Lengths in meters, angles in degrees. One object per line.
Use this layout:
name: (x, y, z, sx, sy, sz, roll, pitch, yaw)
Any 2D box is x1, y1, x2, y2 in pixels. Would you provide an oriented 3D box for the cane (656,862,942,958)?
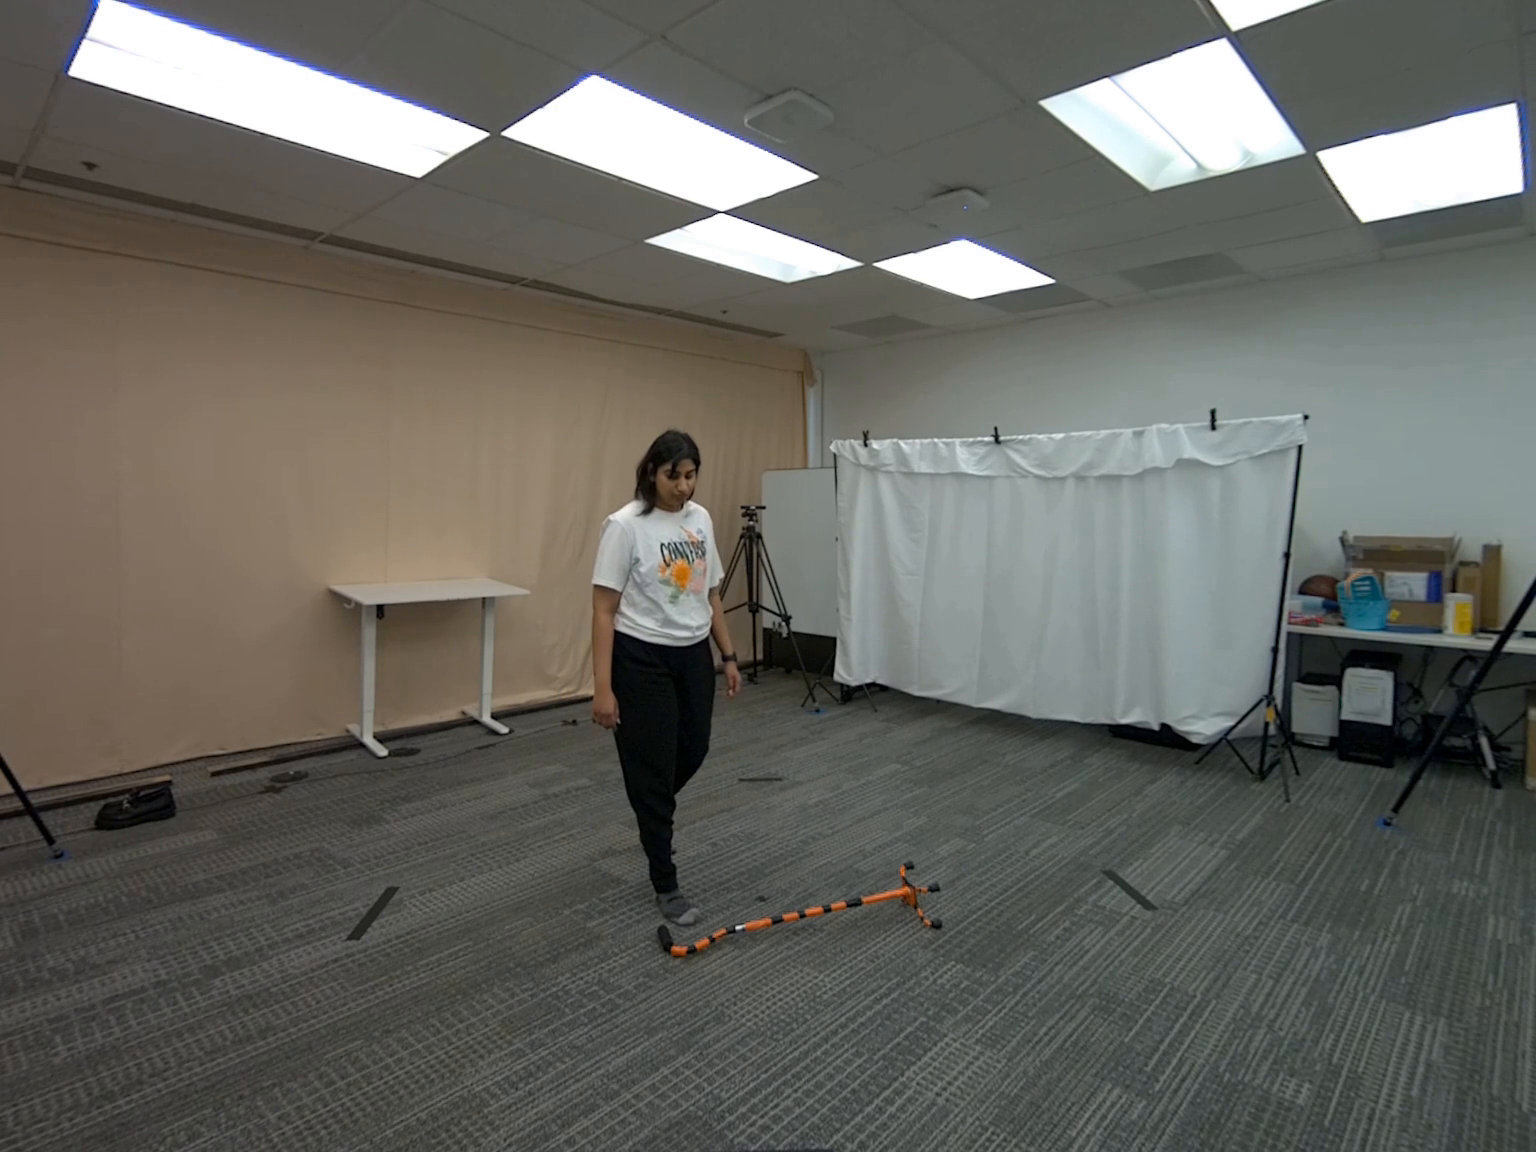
cane: (0.111, 1.116, 2.746, 0.895, 0.151, 0.210, -6, 6, -14)
